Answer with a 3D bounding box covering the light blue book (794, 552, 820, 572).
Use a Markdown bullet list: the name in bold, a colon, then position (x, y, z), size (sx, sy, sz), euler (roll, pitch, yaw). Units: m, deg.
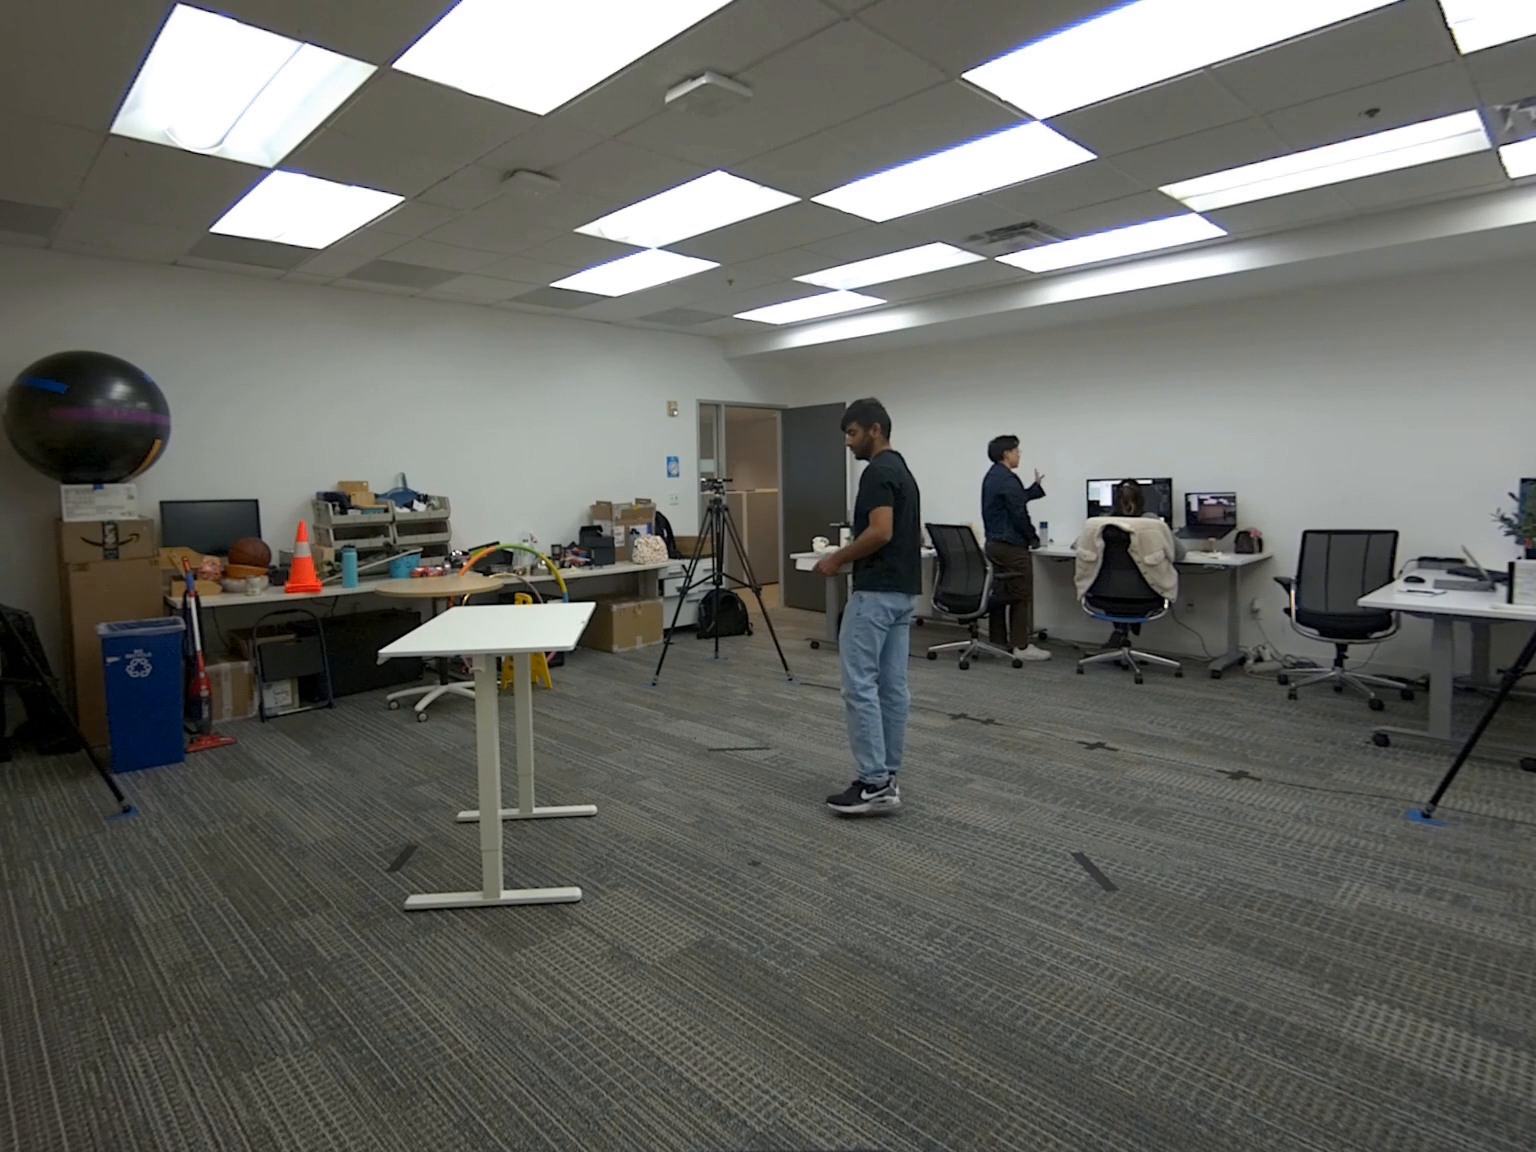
- **light blue book**: position (0.297, -0.056, 3.861), size (0.196, 0.059, 0.255), euler (7, 7, 25)
